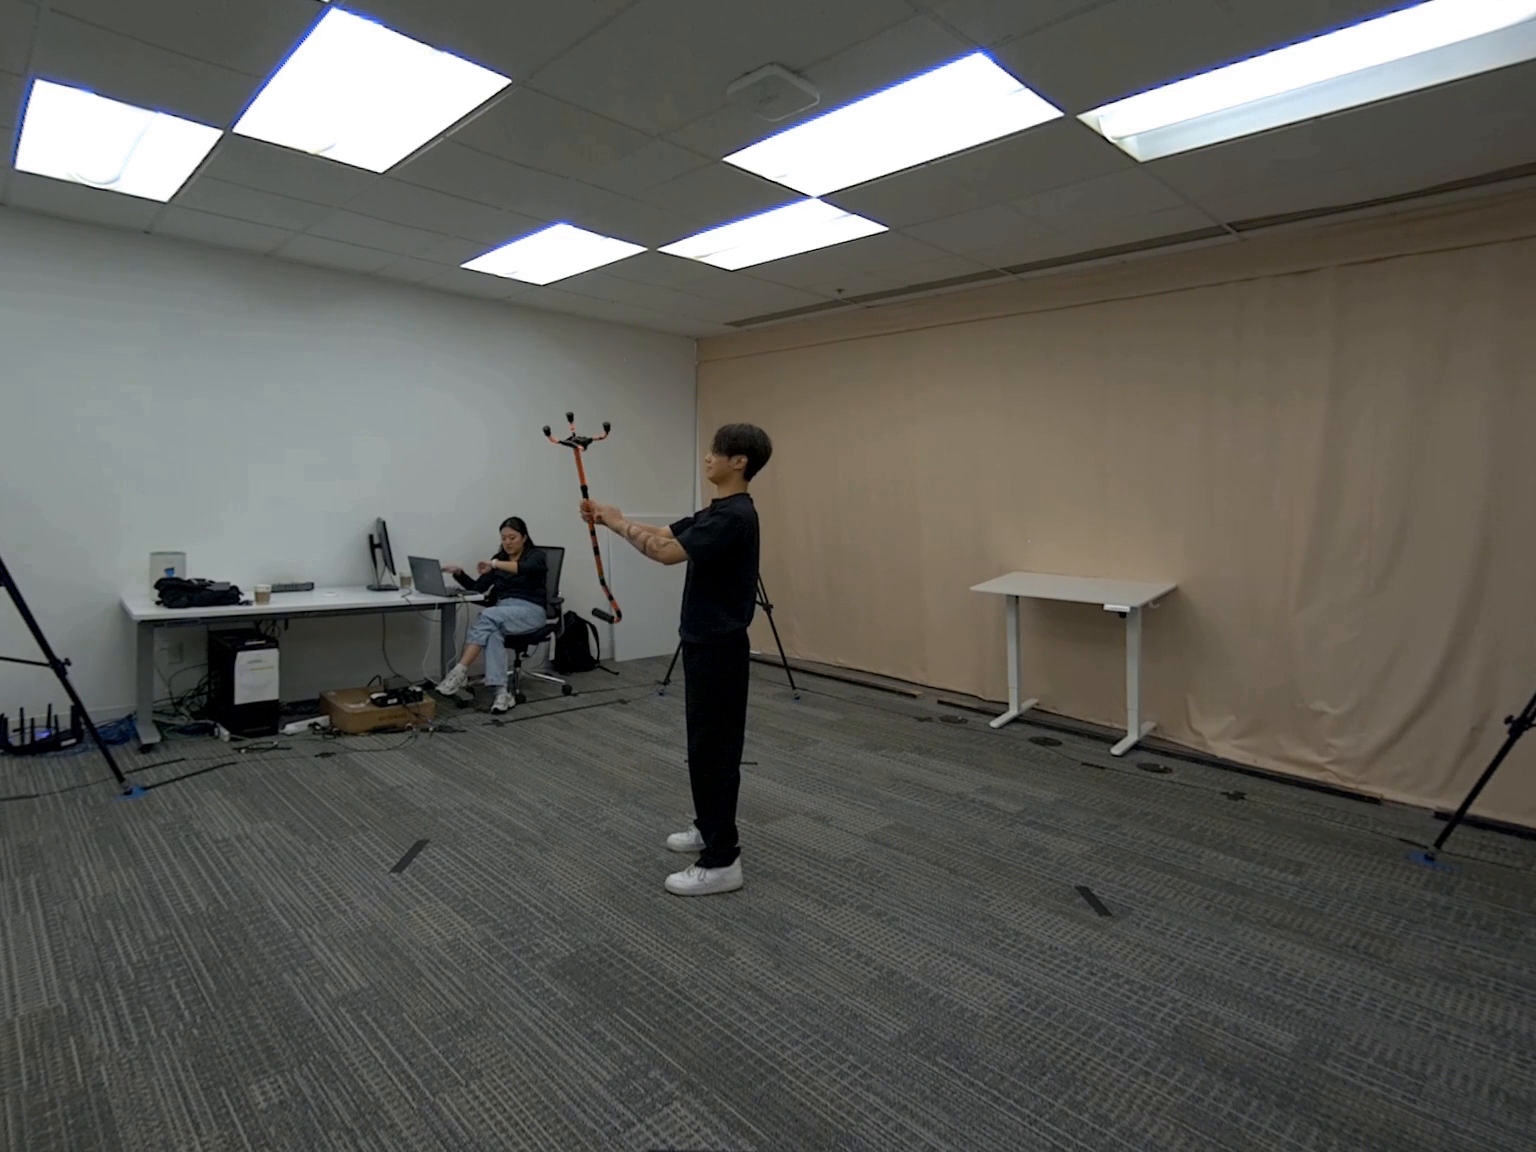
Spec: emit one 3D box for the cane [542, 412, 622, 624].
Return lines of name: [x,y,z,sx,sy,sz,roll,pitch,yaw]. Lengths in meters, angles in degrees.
cane: [-0.668,-0.173,3.238,0.212,0.888,0.151,21,42,30]
